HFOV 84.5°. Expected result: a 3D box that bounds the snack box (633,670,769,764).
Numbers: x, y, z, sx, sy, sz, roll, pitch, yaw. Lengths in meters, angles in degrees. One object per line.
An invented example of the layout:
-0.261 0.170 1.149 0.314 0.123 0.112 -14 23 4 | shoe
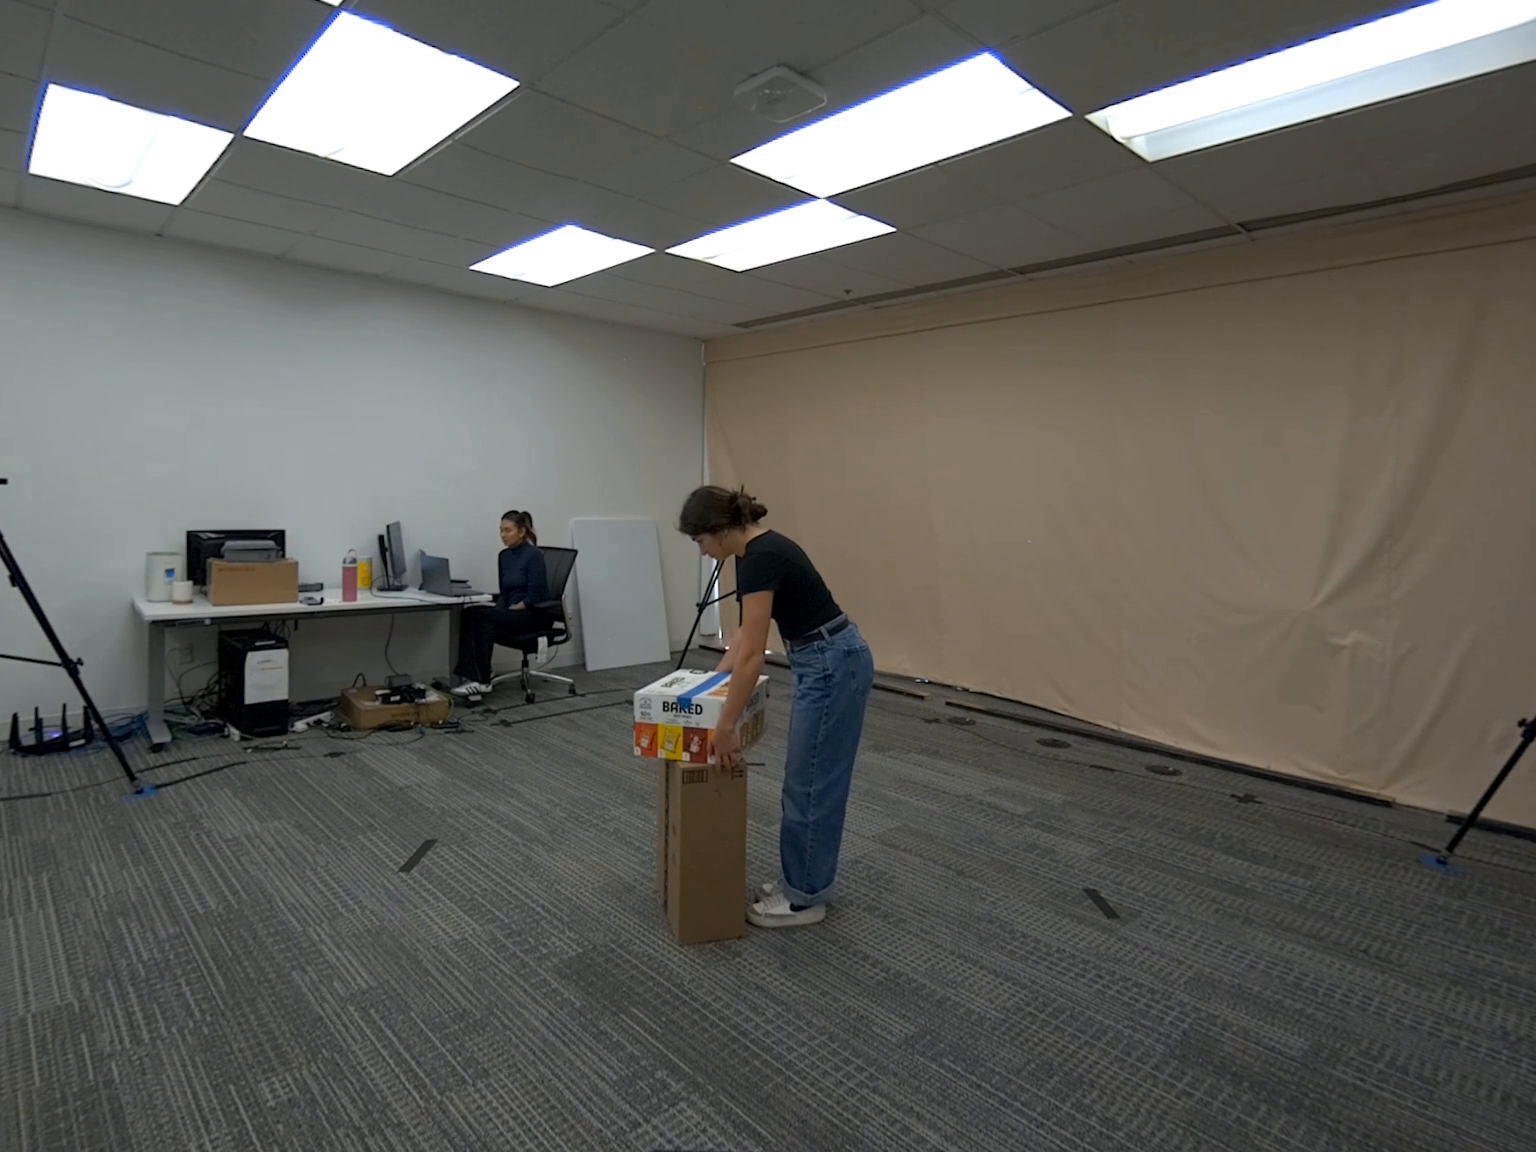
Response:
-0.213 0.460 2.825 0.345 0.205 0.400 2 5 17 | snack box
